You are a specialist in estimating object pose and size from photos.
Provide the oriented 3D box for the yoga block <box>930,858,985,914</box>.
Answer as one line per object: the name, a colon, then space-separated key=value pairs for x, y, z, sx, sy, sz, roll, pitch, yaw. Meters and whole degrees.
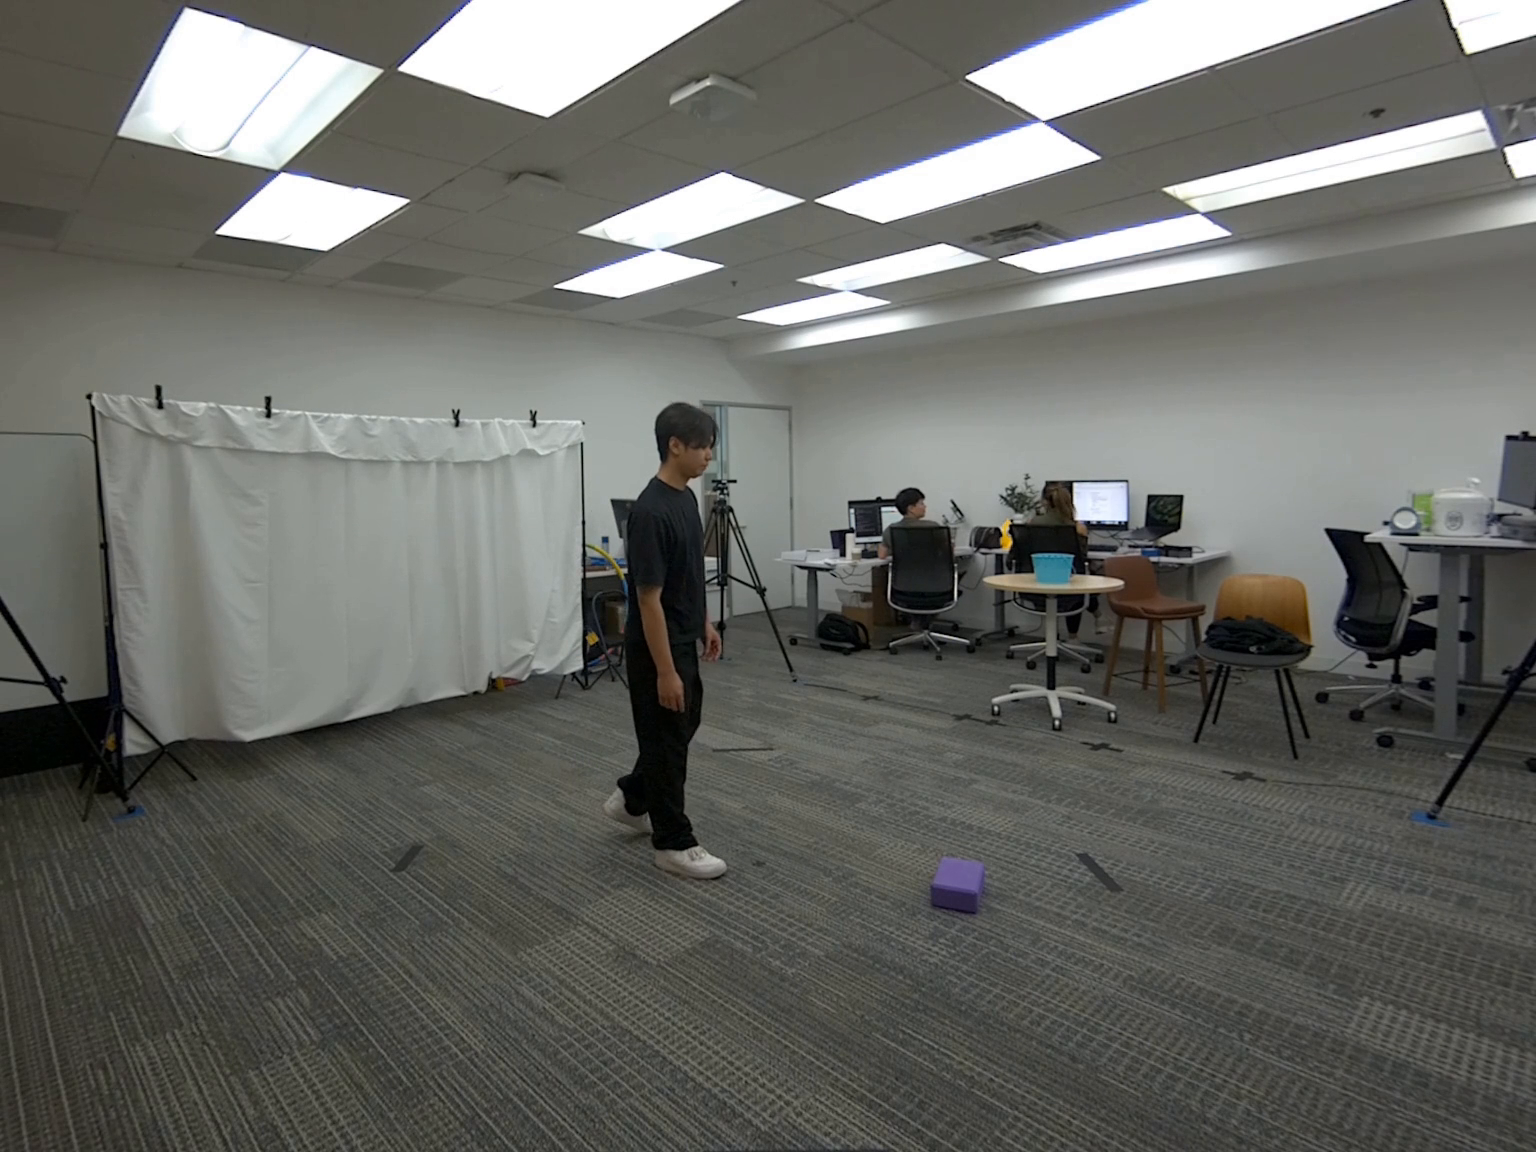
yoga block: x=0.637 y=1.025 z=2.845 sx=0.152 sy=0.076 sz=0.226 roll=1 pitch=7 yaw=20
